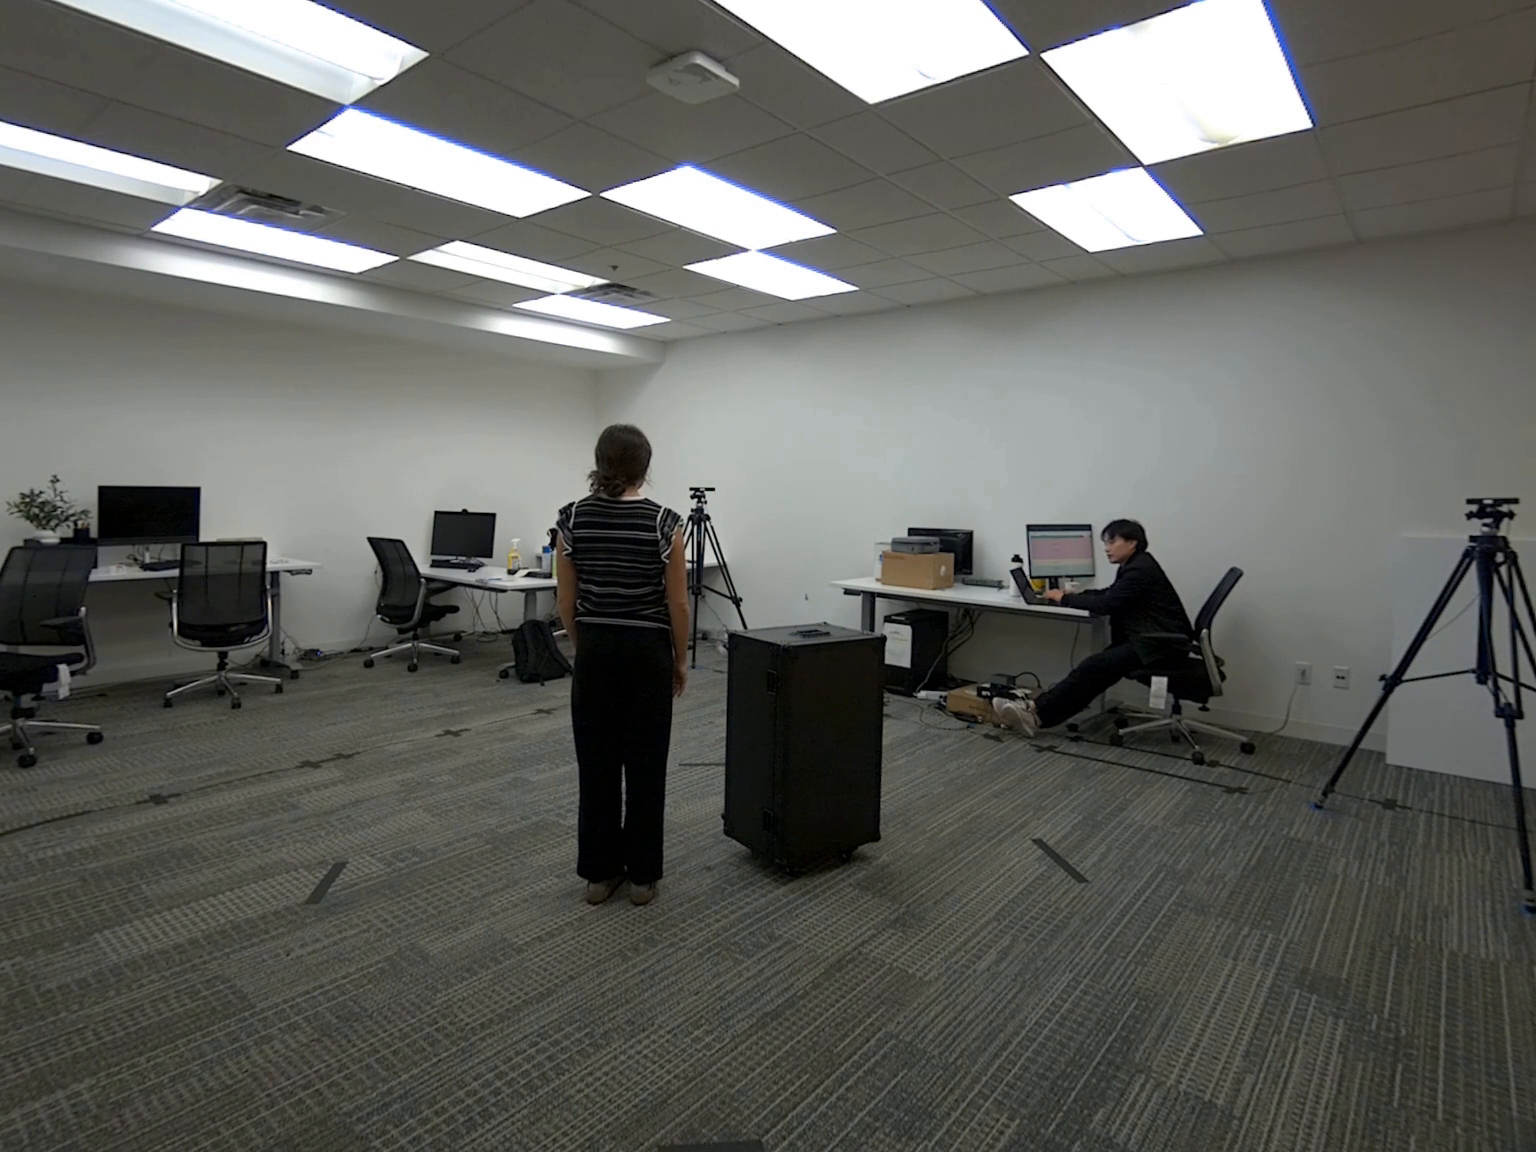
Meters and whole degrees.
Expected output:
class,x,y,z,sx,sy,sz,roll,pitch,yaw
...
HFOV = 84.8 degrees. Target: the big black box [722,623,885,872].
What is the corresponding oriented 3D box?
class,x,y,z,sx,sy,sz,roll,pitch,yaw
big black box,0.115,0.637,3.225,0.506,0.860,0.409,-1,3,-35
